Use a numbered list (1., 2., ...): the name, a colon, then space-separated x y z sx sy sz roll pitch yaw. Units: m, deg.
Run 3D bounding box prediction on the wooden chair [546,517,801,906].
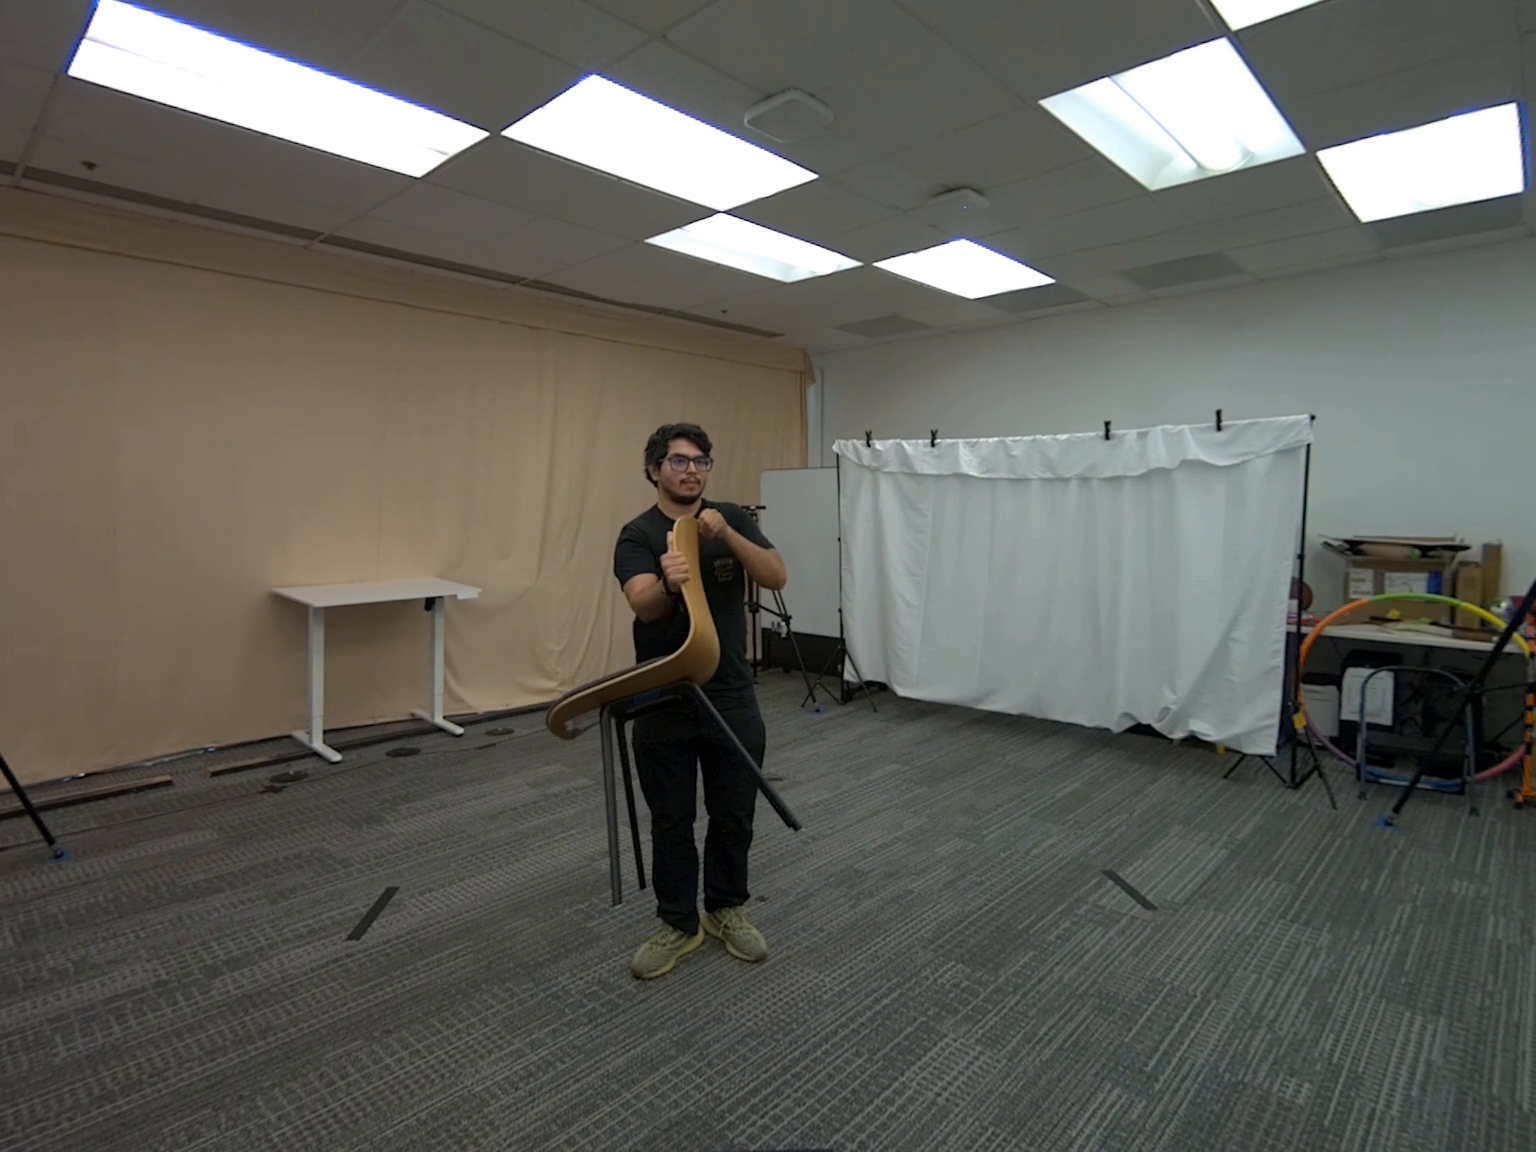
1. wooden chair: -0.301 0.334 2.213 0.521 0.891 0.472 -18 -16 -4
